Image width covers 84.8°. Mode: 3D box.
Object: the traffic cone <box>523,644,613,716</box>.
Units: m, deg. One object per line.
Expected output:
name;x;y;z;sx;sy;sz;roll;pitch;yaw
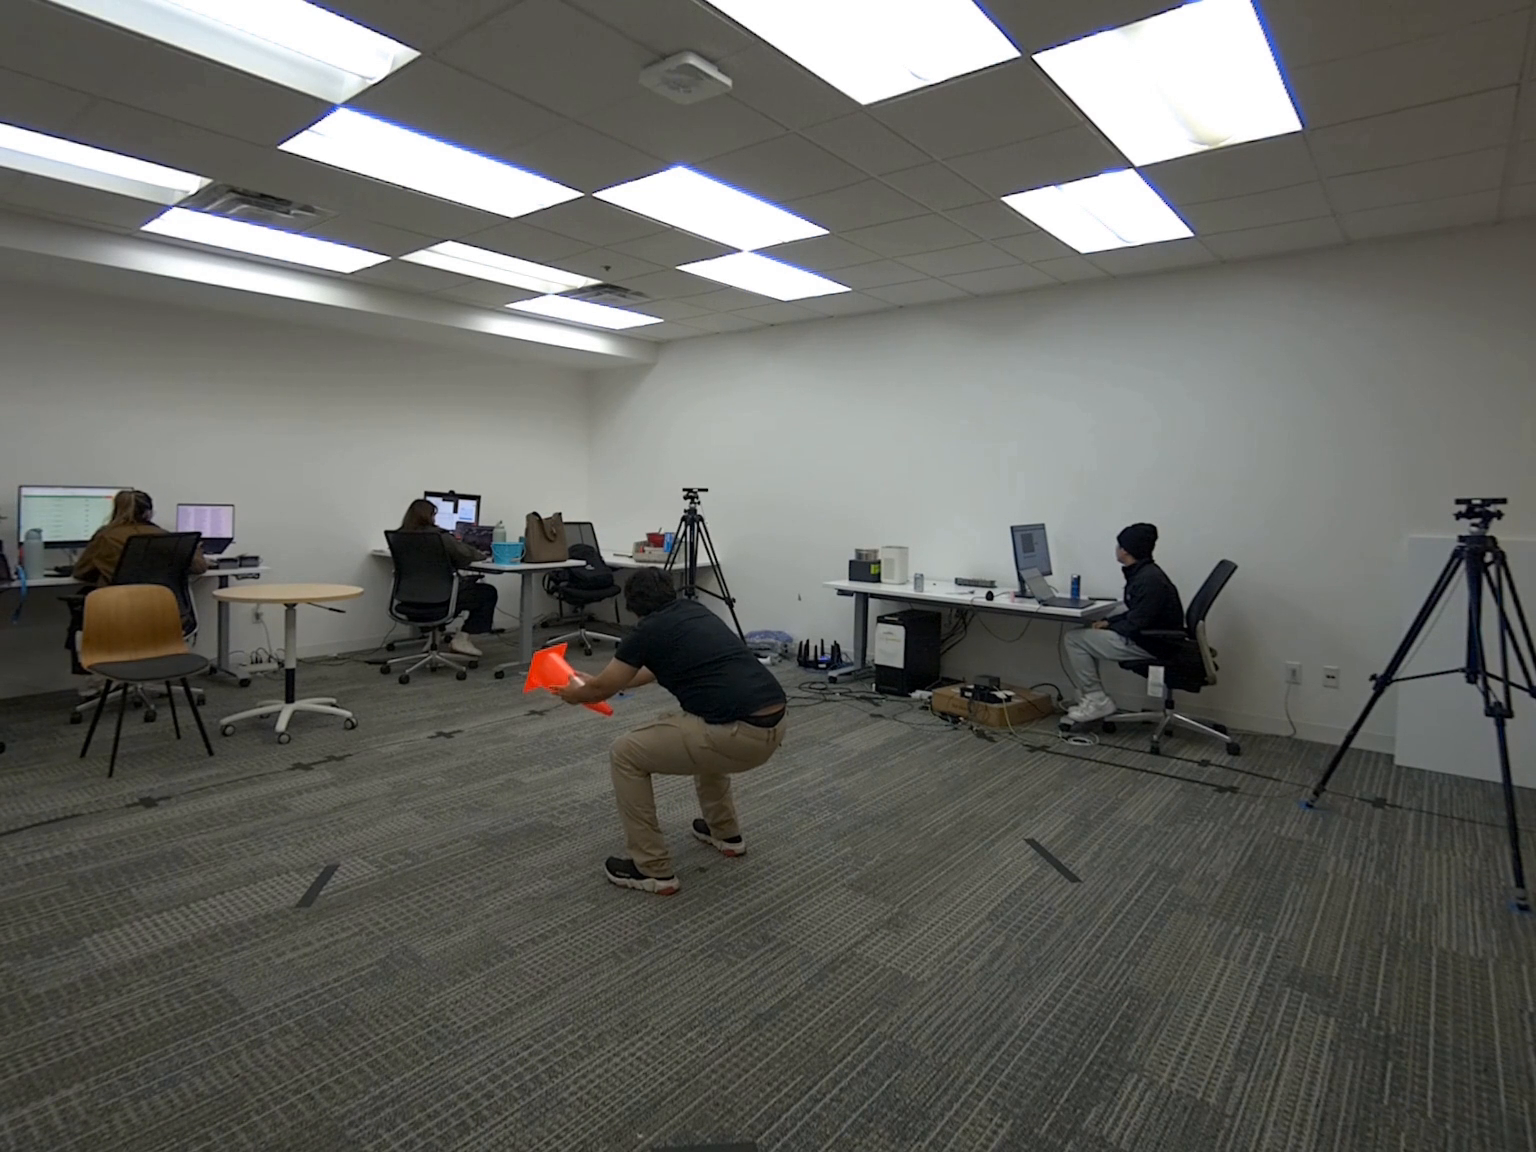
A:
traffic cone;-0.809;0.472;3.518;0.396;0.201;0.200;27;21;26
